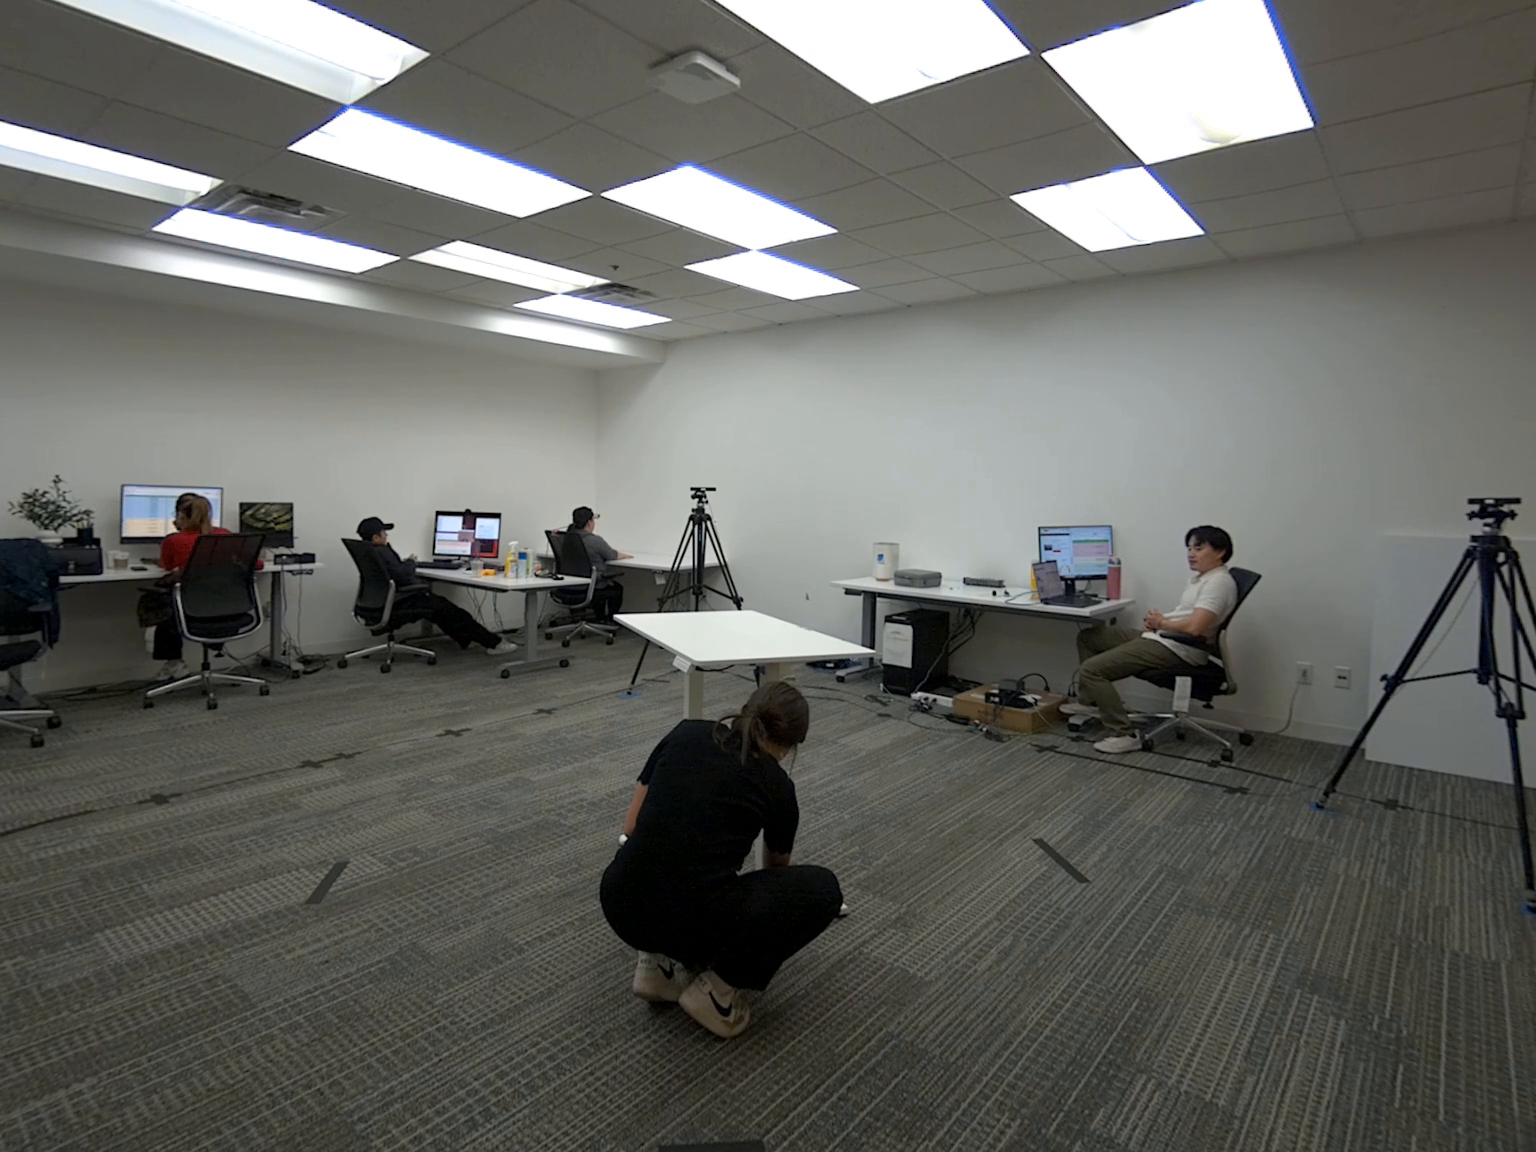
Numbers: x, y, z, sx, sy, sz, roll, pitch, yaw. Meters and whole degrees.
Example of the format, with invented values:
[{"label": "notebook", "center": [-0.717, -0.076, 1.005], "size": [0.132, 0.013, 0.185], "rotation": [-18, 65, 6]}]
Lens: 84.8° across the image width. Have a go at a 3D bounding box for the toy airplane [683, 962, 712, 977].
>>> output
[{"label": "toy airplane", "center": [-0.156, 1.042, 2.484], "size": [0.257, 0.155, 0.256], "rotation": [-1, 11, 23]}]
